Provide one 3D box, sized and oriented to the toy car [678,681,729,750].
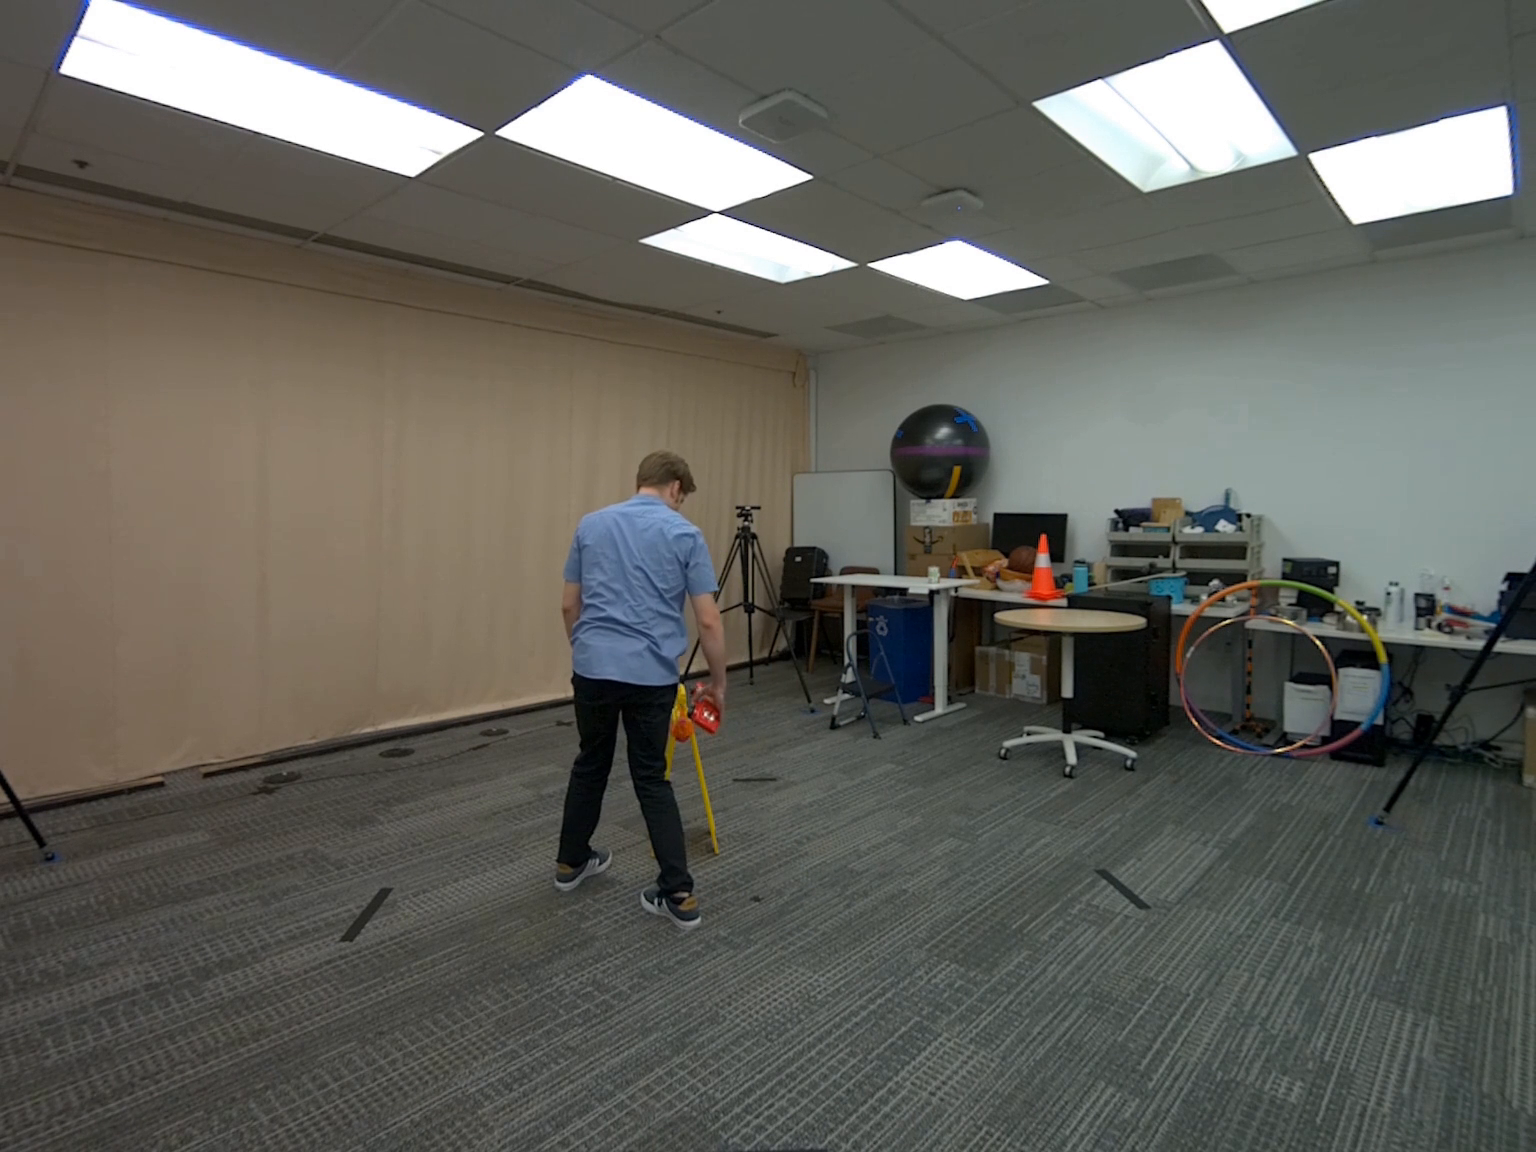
[{"bbox_3d":[-0.237,0.495,3.046,0.128,0.083,0.259,35,8,-18],"label":"toy car"}]
